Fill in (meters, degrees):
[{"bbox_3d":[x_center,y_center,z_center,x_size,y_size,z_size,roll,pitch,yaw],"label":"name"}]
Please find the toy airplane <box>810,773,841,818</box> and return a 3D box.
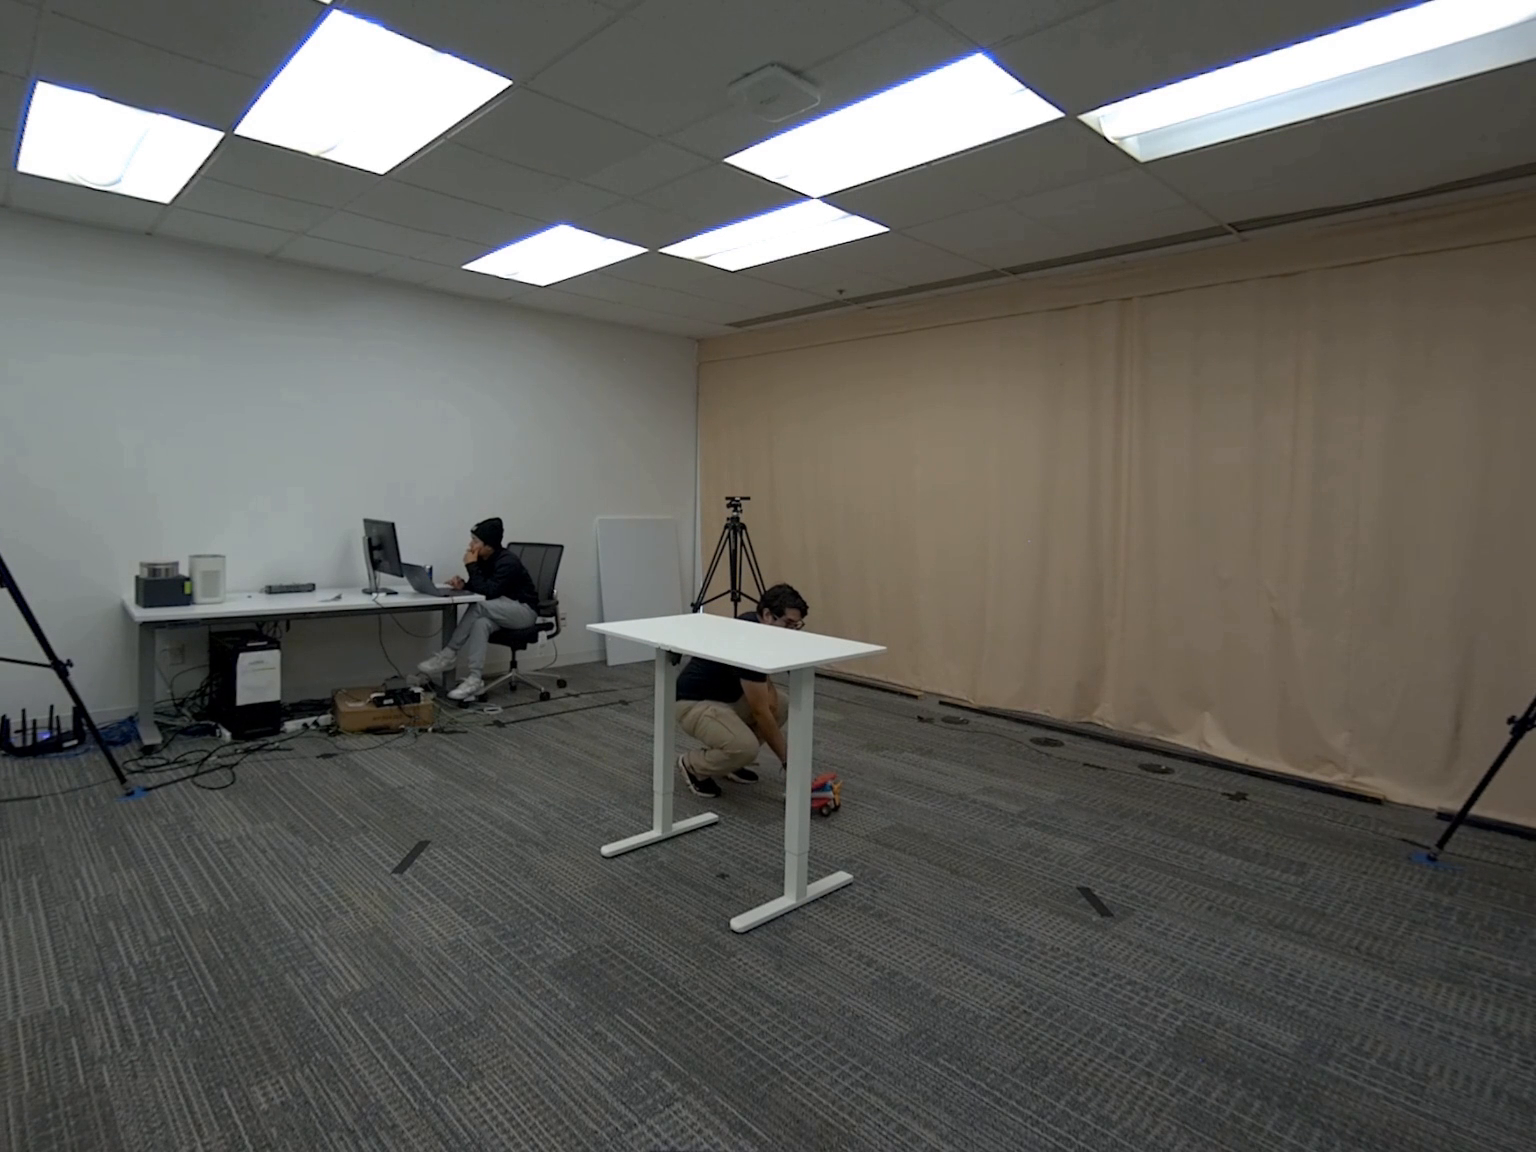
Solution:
[{"bbox_3d":[0.185,0.981,3.786,0.260,0.156,0.251,3,5,3],"label":"toy airplane"}]
